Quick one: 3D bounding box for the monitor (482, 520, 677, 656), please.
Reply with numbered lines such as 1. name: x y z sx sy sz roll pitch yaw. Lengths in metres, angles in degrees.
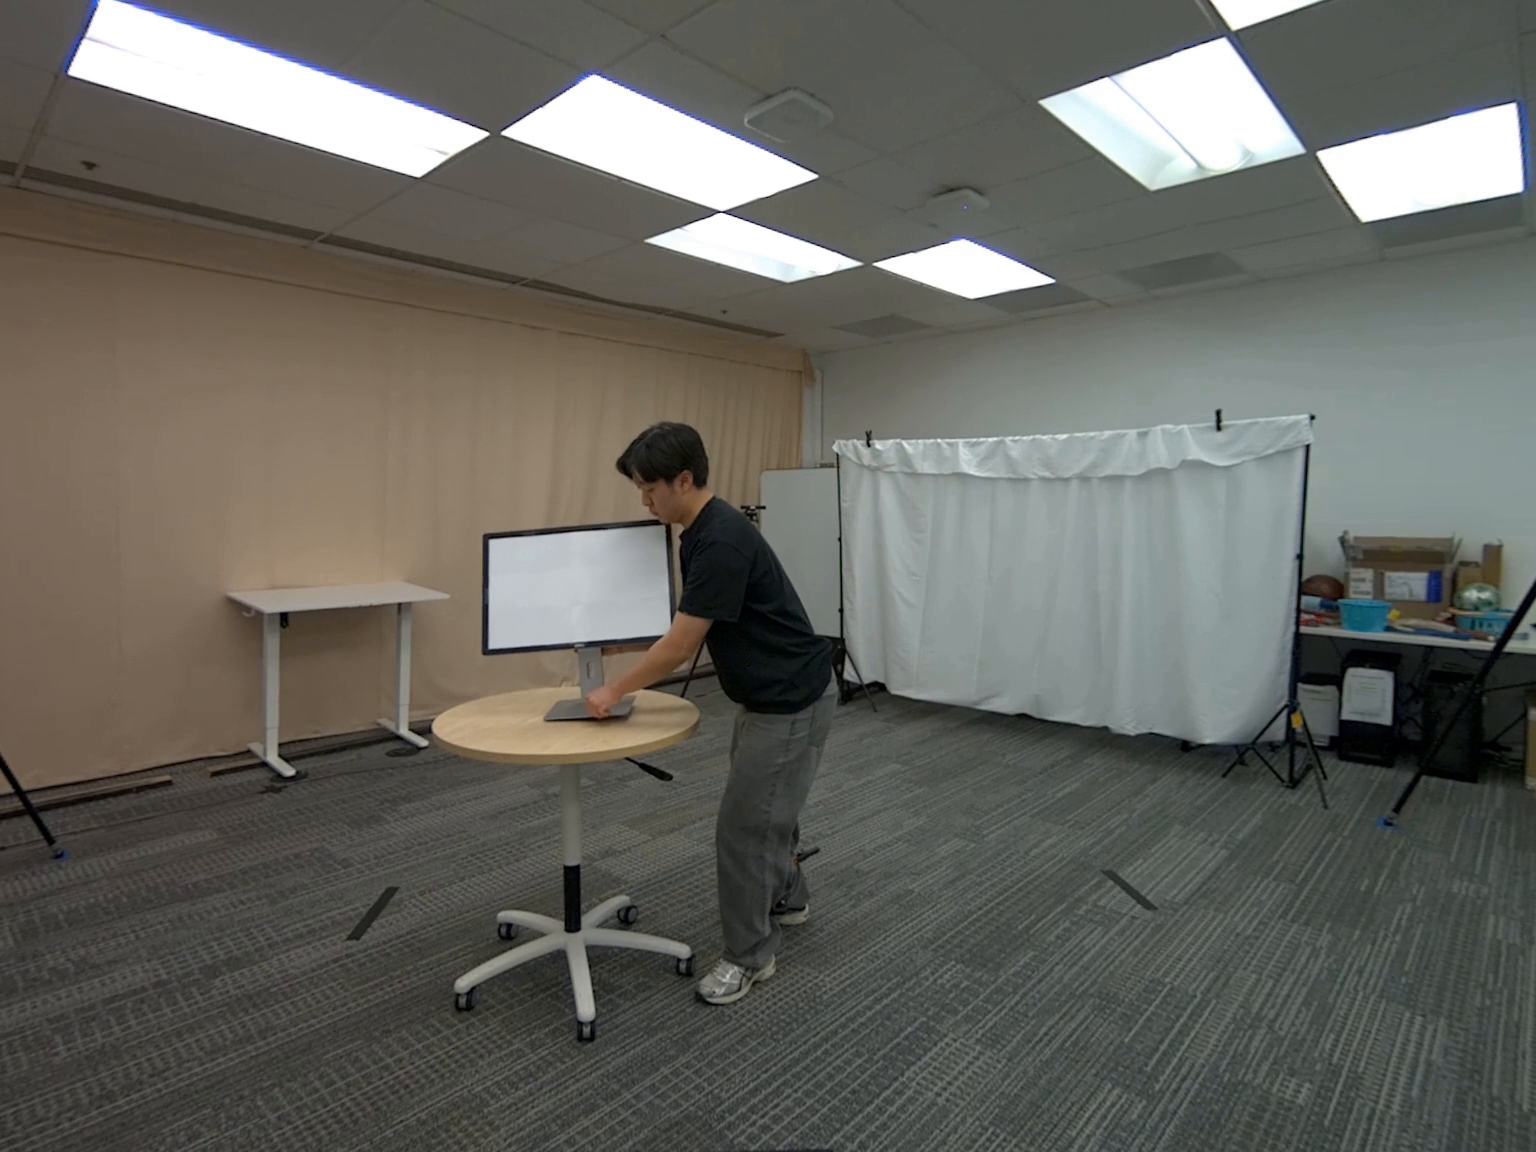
1. monitor: -0.537 0.136 2.464 0.564 0.565 0.222 -5 2 3
